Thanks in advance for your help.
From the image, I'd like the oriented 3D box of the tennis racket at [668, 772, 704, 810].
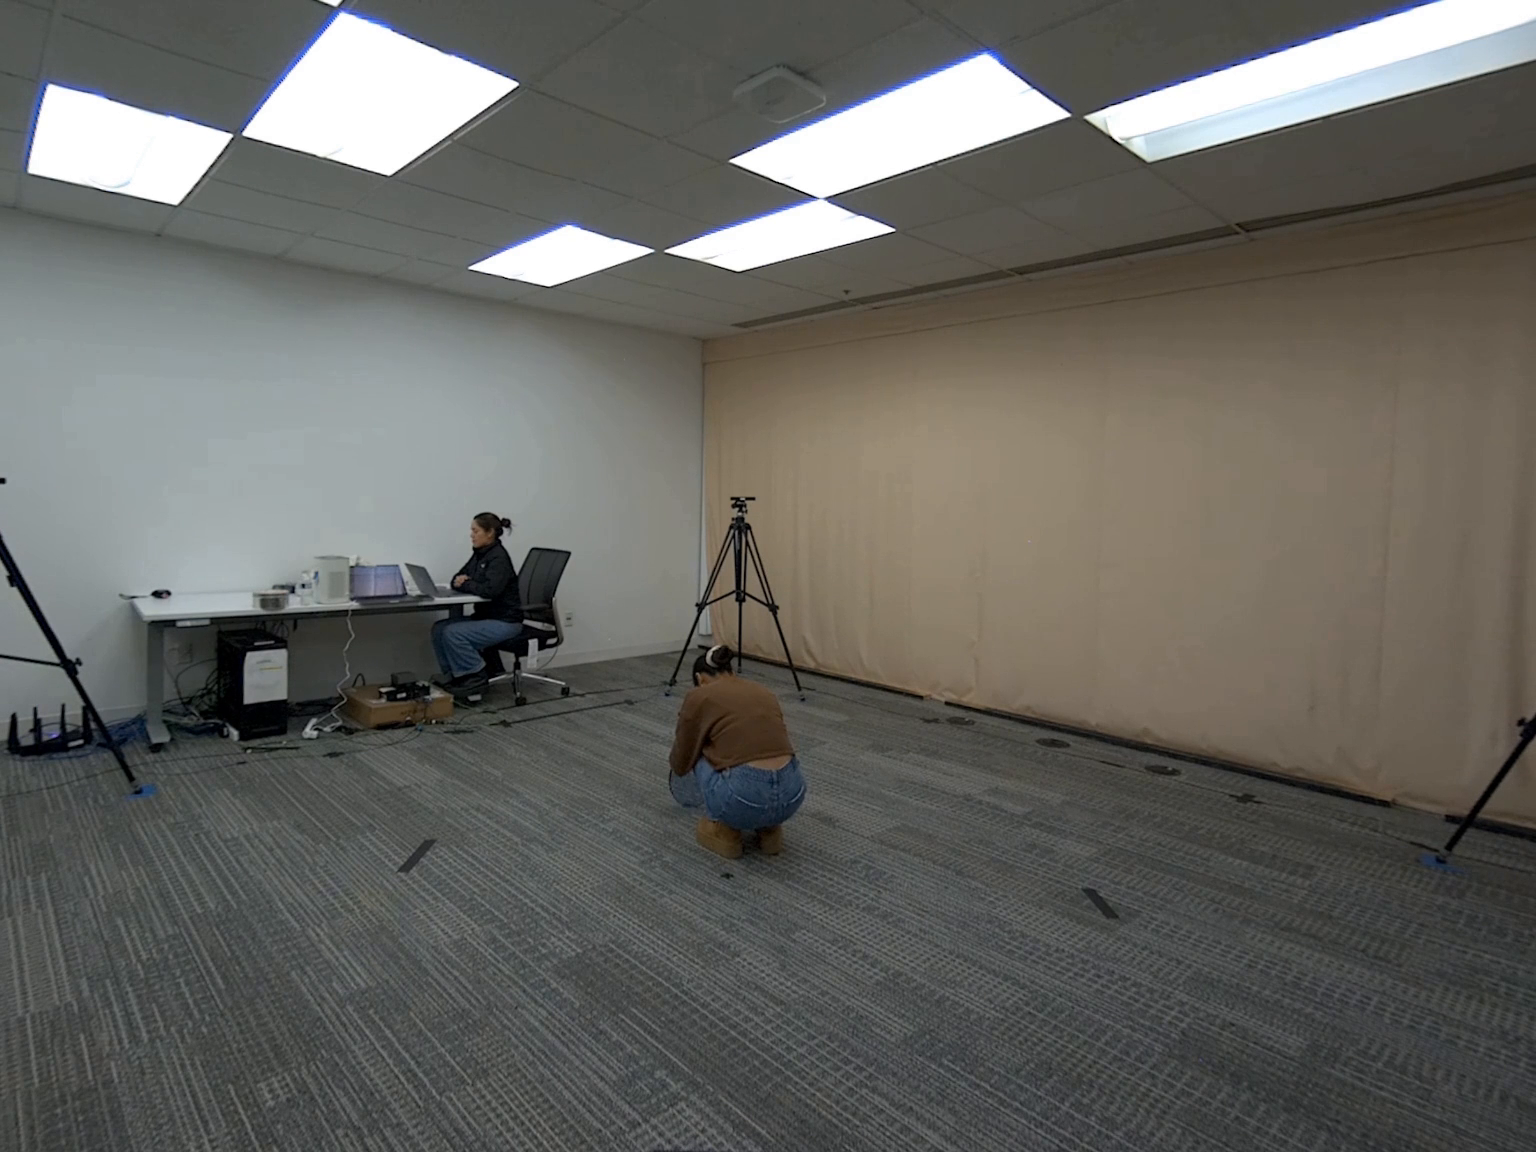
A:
[{"bbox_3d":[-0.330,0.835,3.764,0.214,0.430,0.032,5,9,1],"label":"tennis racket"}]
